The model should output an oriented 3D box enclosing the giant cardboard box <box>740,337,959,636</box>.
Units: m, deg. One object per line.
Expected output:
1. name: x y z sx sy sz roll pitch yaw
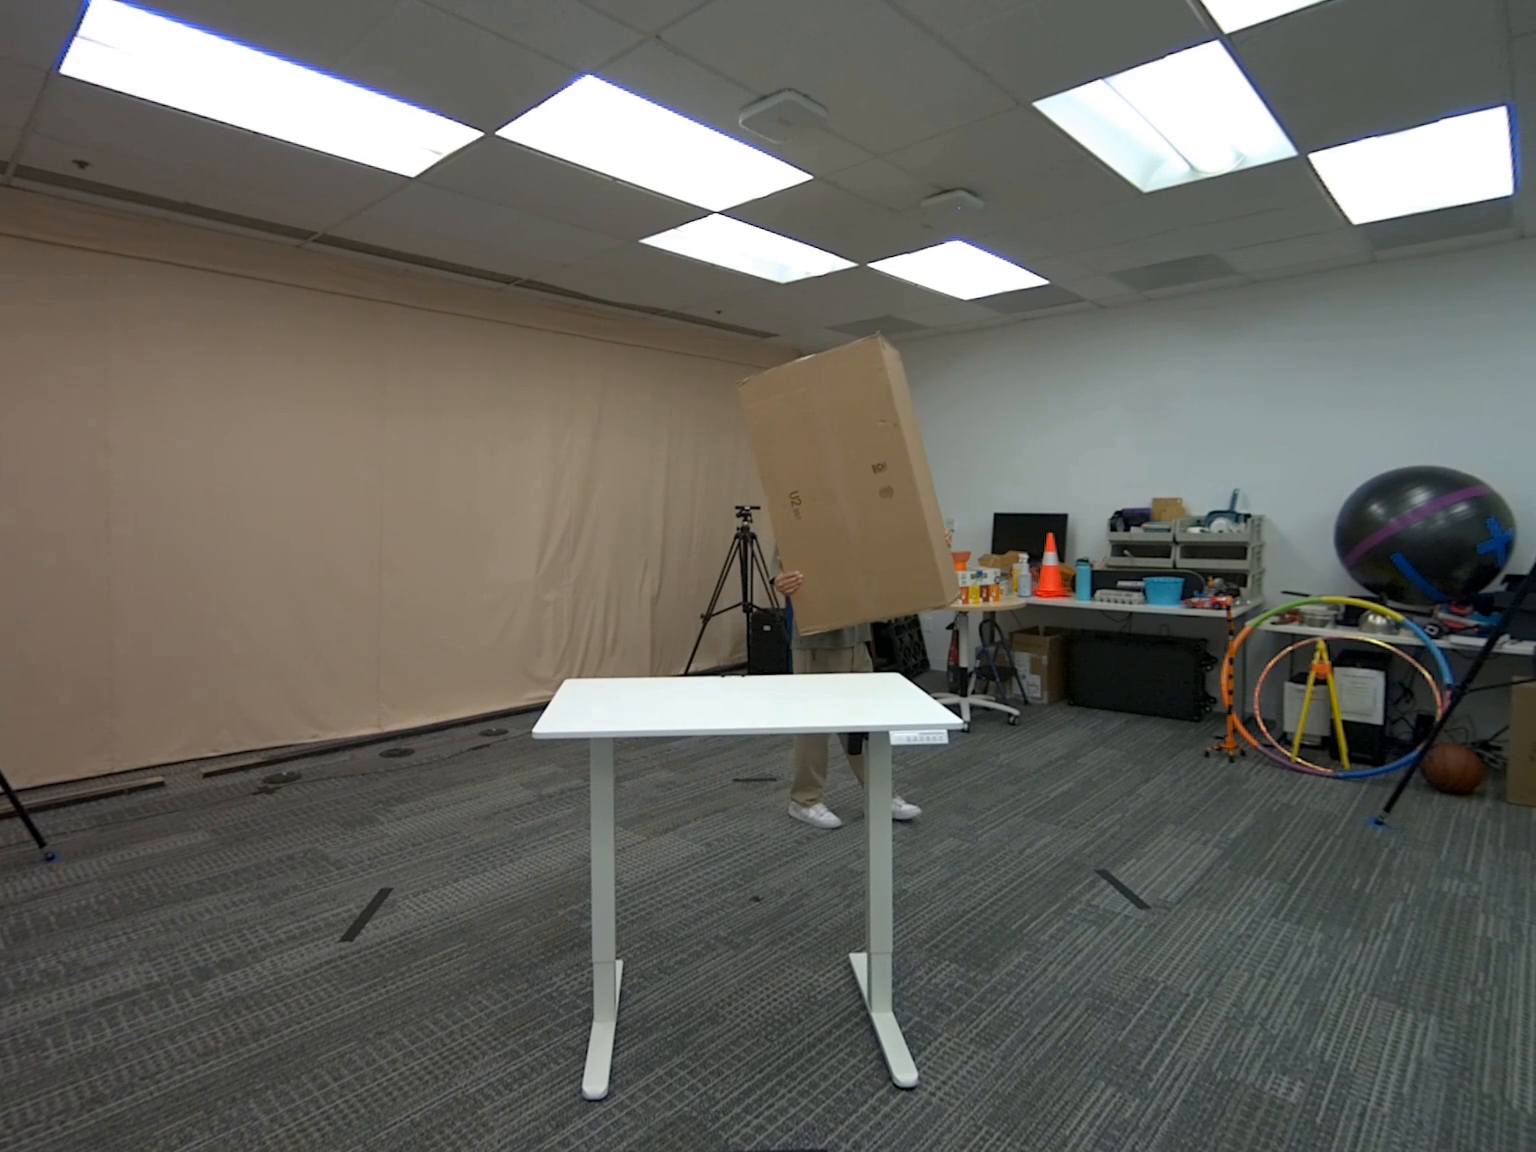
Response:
1. giant cardboard box: 0.336 -0.338 3.332 0.588 1.028 0.417 -15 -3 22
